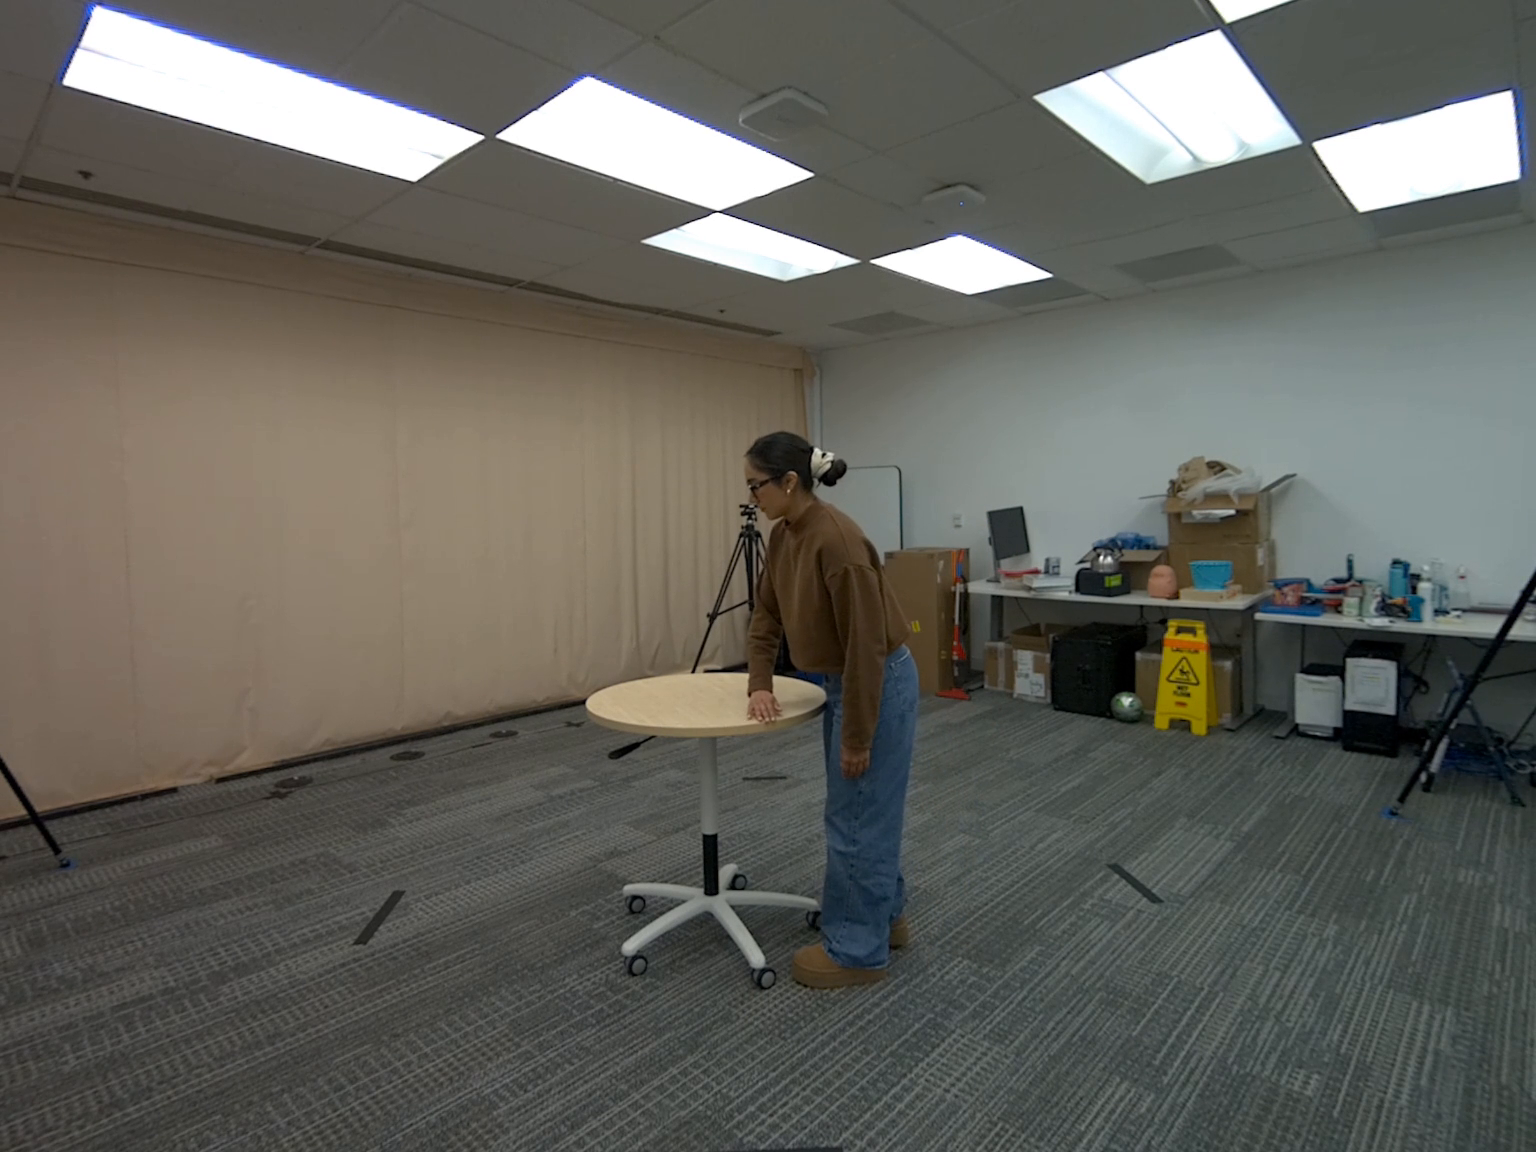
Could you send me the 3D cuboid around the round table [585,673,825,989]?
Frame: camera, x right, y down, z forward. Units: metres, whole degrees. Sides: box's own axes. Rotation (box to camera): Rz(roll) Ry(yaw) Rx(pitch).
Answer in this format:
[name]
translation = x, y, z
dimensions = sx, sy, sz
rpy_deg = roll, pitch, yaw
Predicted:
[round table]
translation = -0.187, 0.781, 2.710
dimensions = 0.763, 0.792, 0.766
rpy_deg = -1, 4, -2
